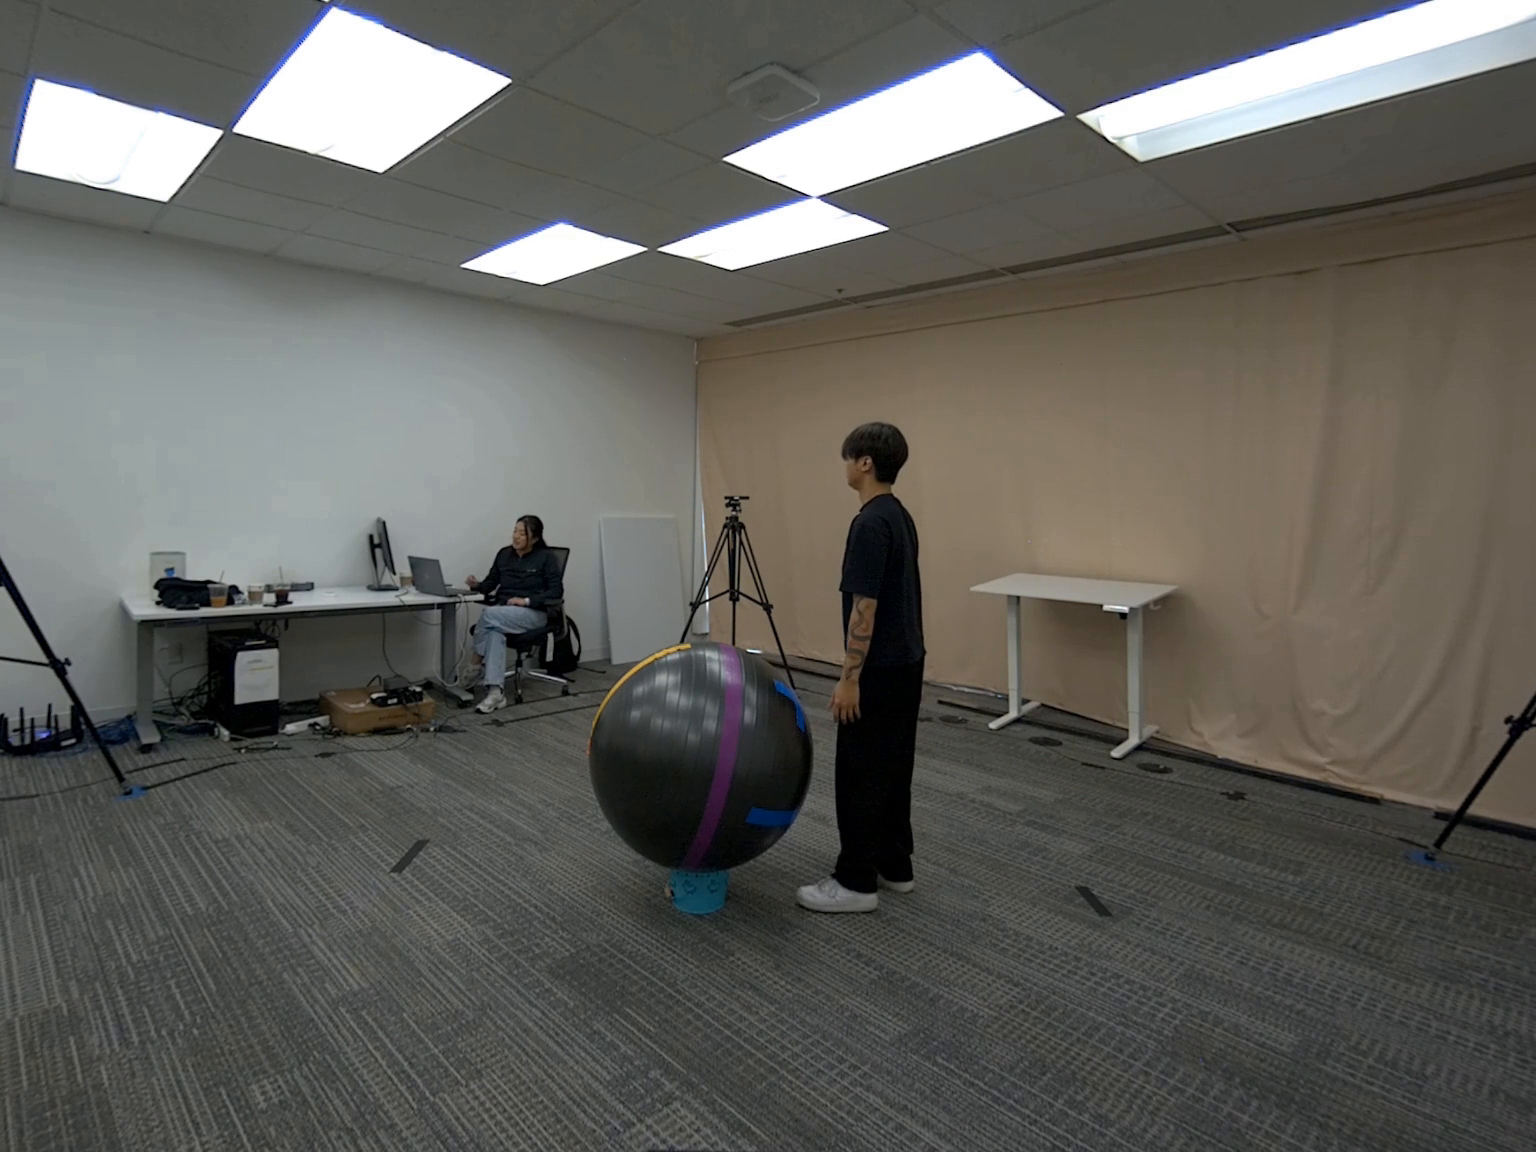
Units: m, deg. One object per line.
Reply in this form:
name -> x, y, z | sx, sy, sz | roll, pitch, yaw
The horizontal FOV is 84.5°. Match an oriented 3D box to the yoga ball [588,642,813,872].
yoga ball -> -0.235, 0.609, 2.872 | 0.757, 0.756, 0.761 | 1, 4, -1
